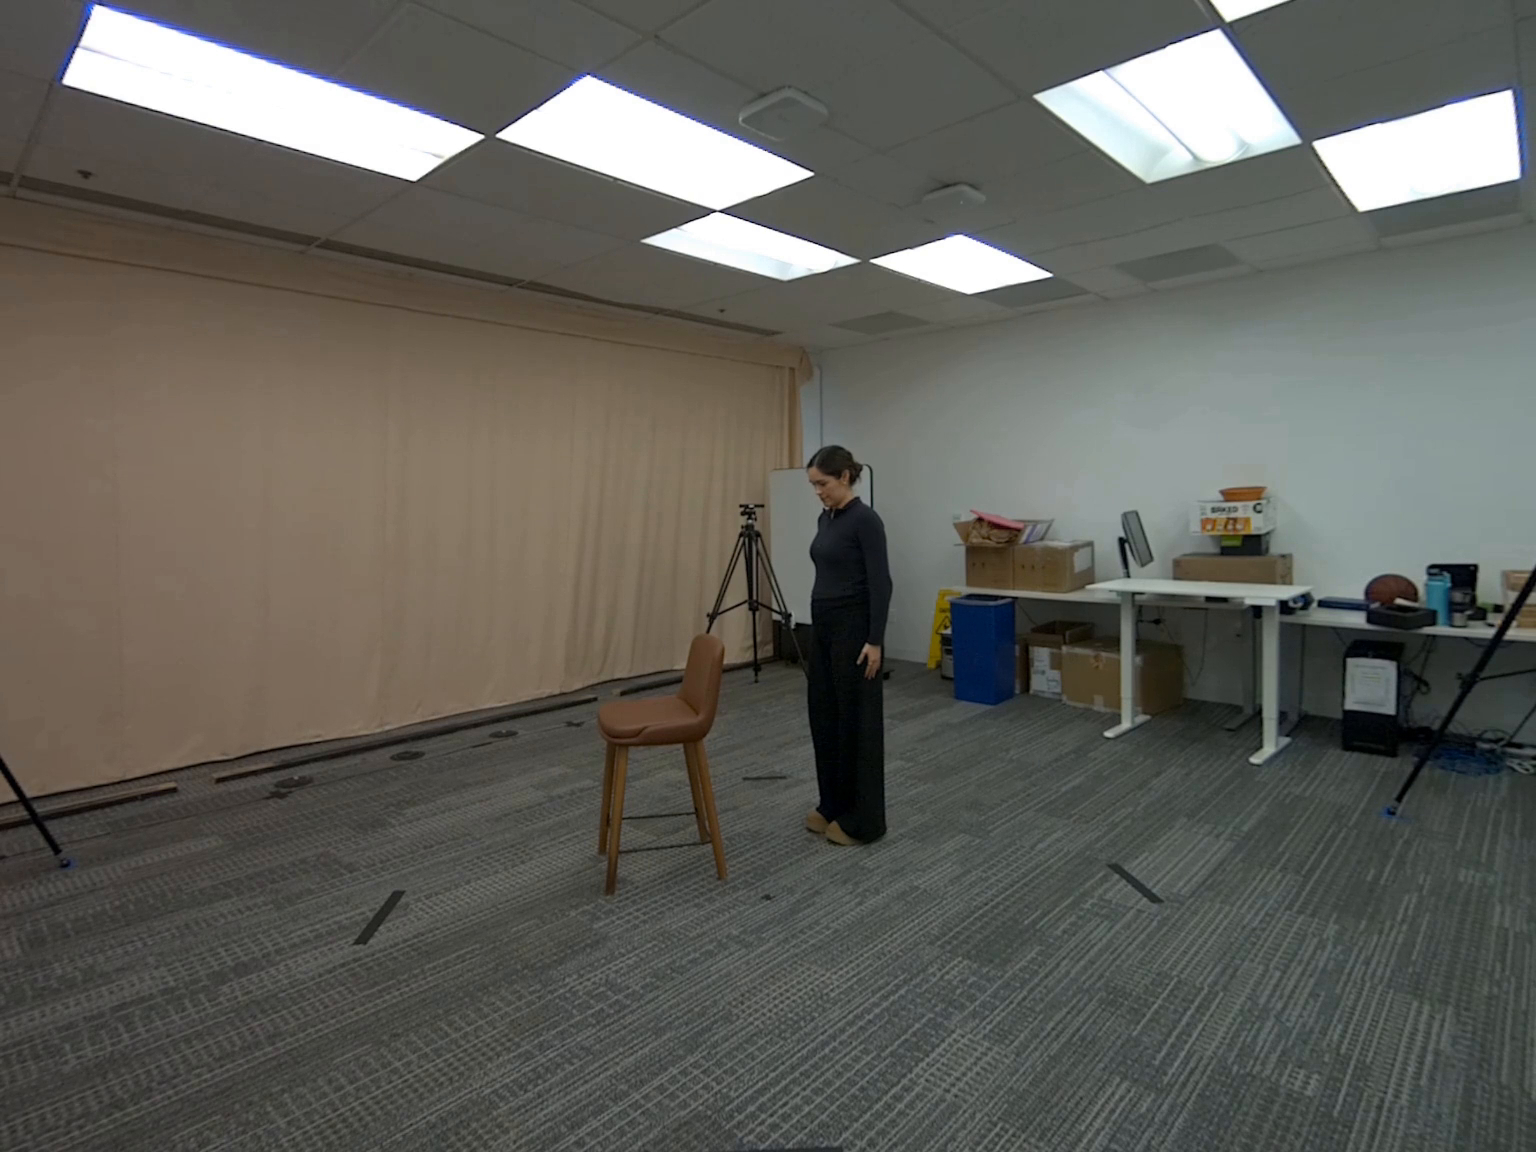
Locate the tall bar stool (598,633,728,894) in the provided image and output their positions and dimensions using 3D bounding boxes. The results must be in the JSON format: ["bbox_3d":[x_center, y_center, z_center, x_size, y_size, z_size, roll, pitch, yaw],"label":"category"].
[{"bbox_3d":[-0.415,0.685,3.242,0.461,0.888,0.464,0,3,-14],"label":"tall bar stool"}]
